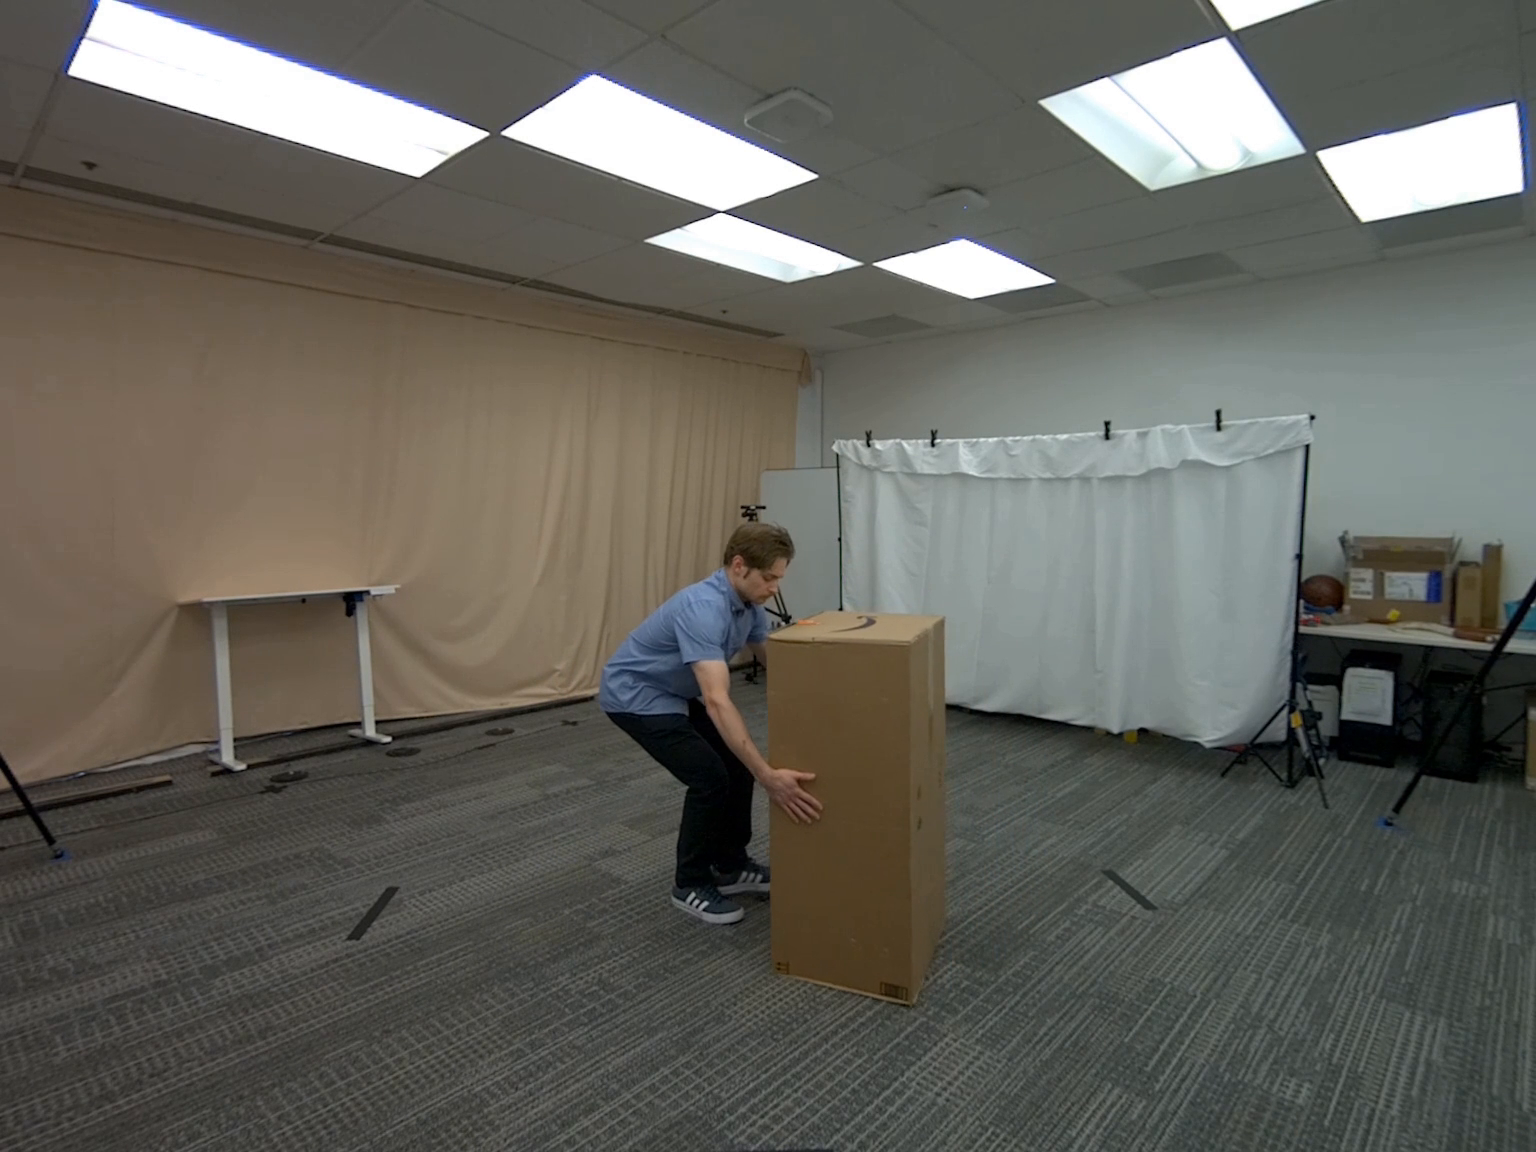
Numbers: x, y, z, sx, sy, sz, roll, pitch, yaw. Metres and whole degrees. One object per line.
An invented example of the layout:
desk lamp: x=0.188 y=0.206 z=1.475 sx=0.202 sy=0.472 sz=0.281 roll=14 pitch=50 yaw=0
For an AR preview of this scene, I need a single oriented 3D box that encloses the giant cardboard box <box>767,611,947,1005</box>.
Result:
giant cardboard box: x=0.302 y=0.659 z=2.645 sx=0.436 sy=1.024 sz=0.565 roll=0 pitch=3 yaw=22
